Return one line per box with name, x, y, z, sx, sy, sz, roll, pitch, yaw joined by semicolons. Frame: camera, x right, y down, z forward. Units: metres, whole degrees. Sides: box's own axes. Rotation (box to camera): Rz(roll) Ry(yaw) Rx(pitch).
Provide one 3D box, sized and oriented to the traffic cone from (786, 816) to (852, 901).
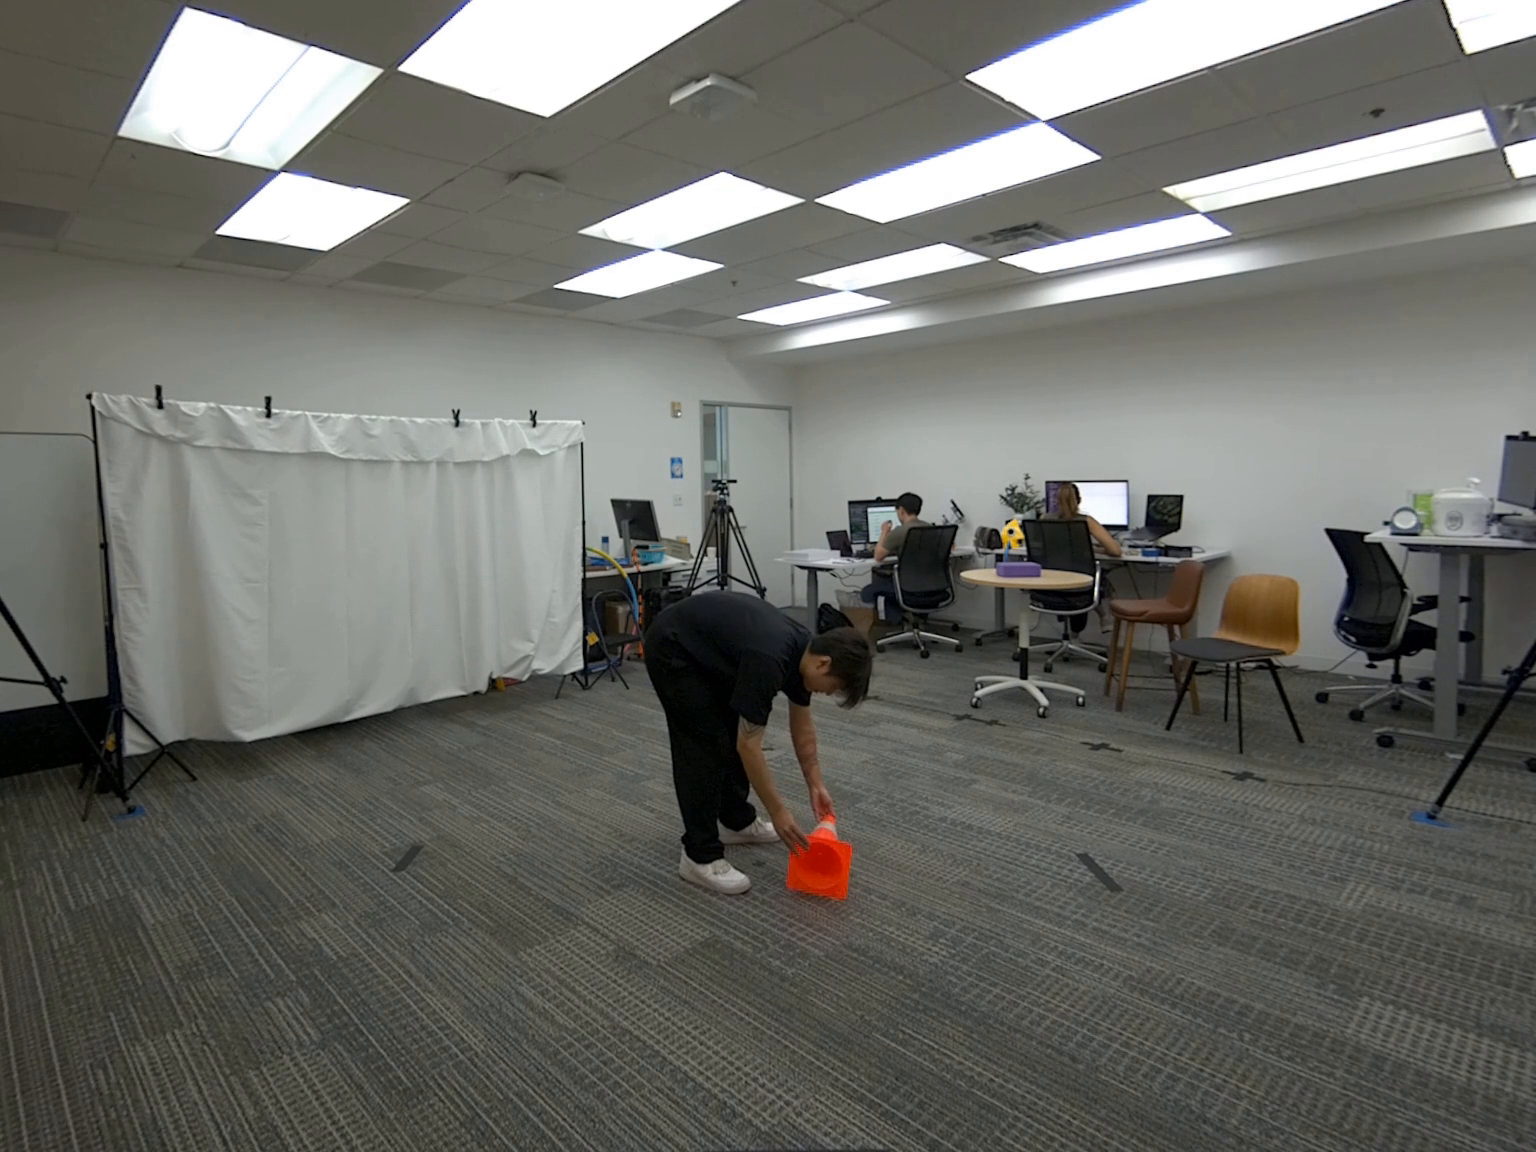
traffic cone;0.200;0.923;2.985;0.205;0.203;0.382;12;10;7
